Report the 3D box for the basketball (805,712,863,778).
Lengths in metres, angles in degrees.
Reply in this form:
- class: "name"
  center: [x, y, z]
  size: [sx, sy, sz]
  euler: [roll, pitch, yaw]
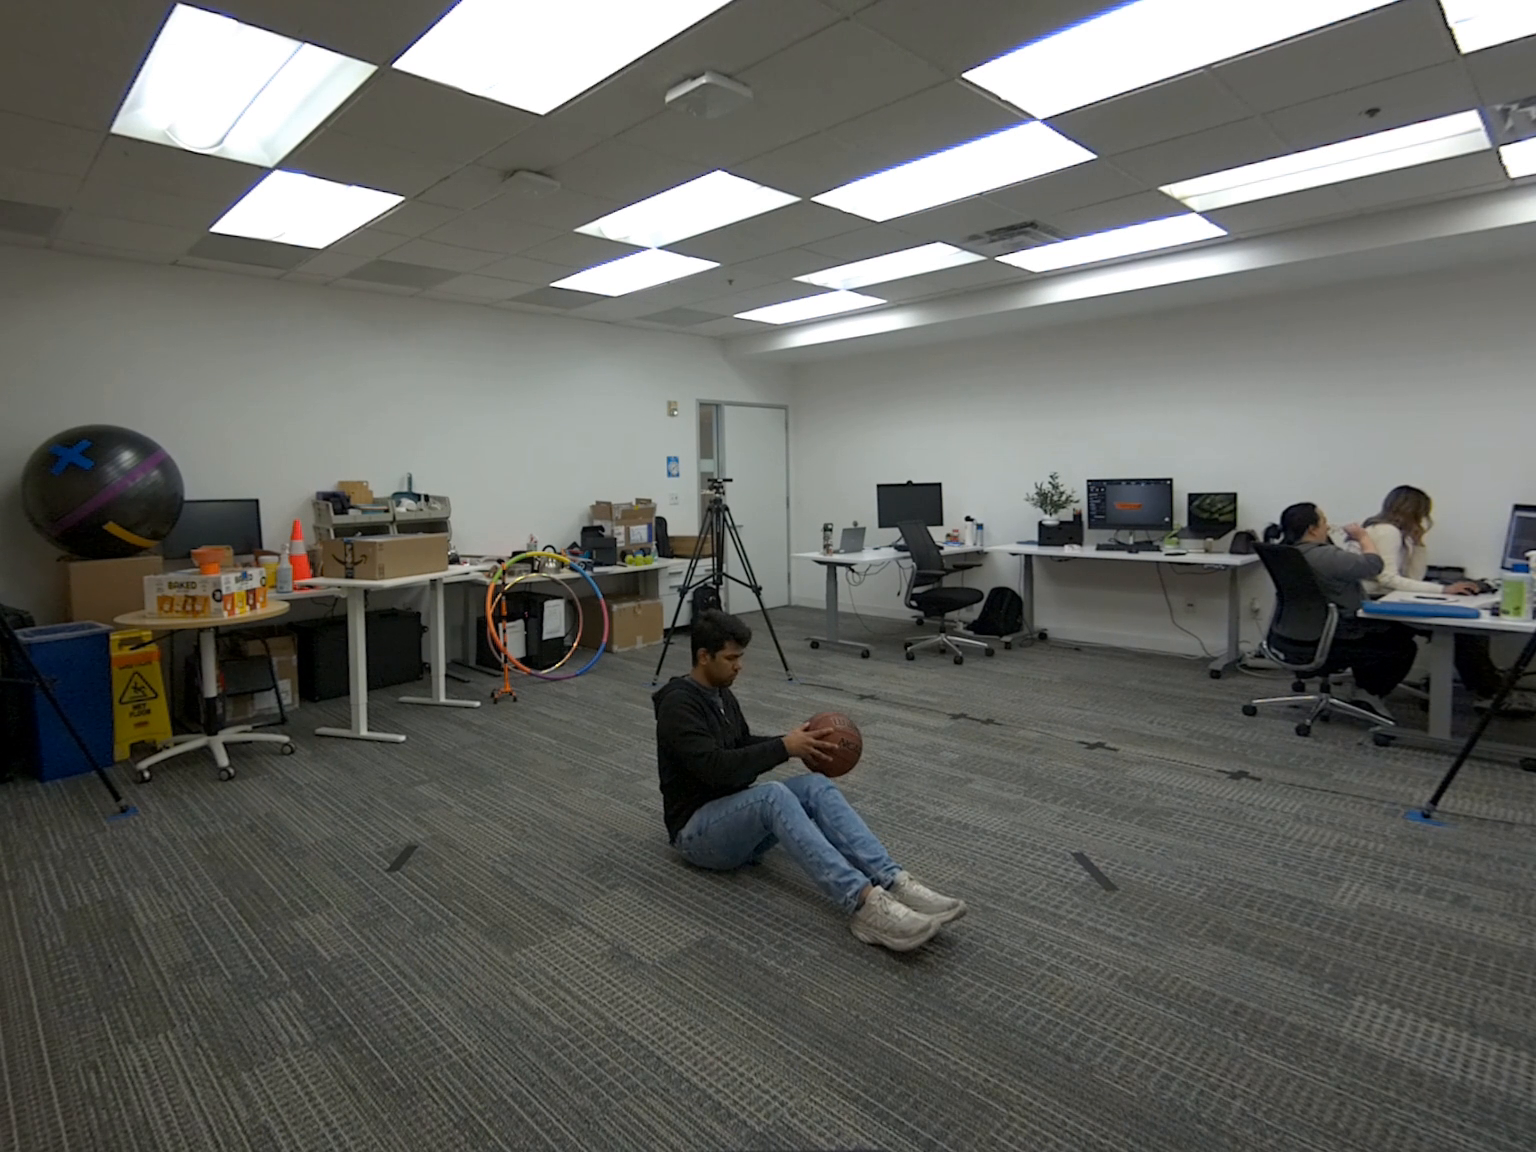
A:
- class: "basketball"
  center: [0.201, 0.626, 3.157]
  size: [0.236, 0.235, 0.237]
  euler: [-1, 5, -2]
